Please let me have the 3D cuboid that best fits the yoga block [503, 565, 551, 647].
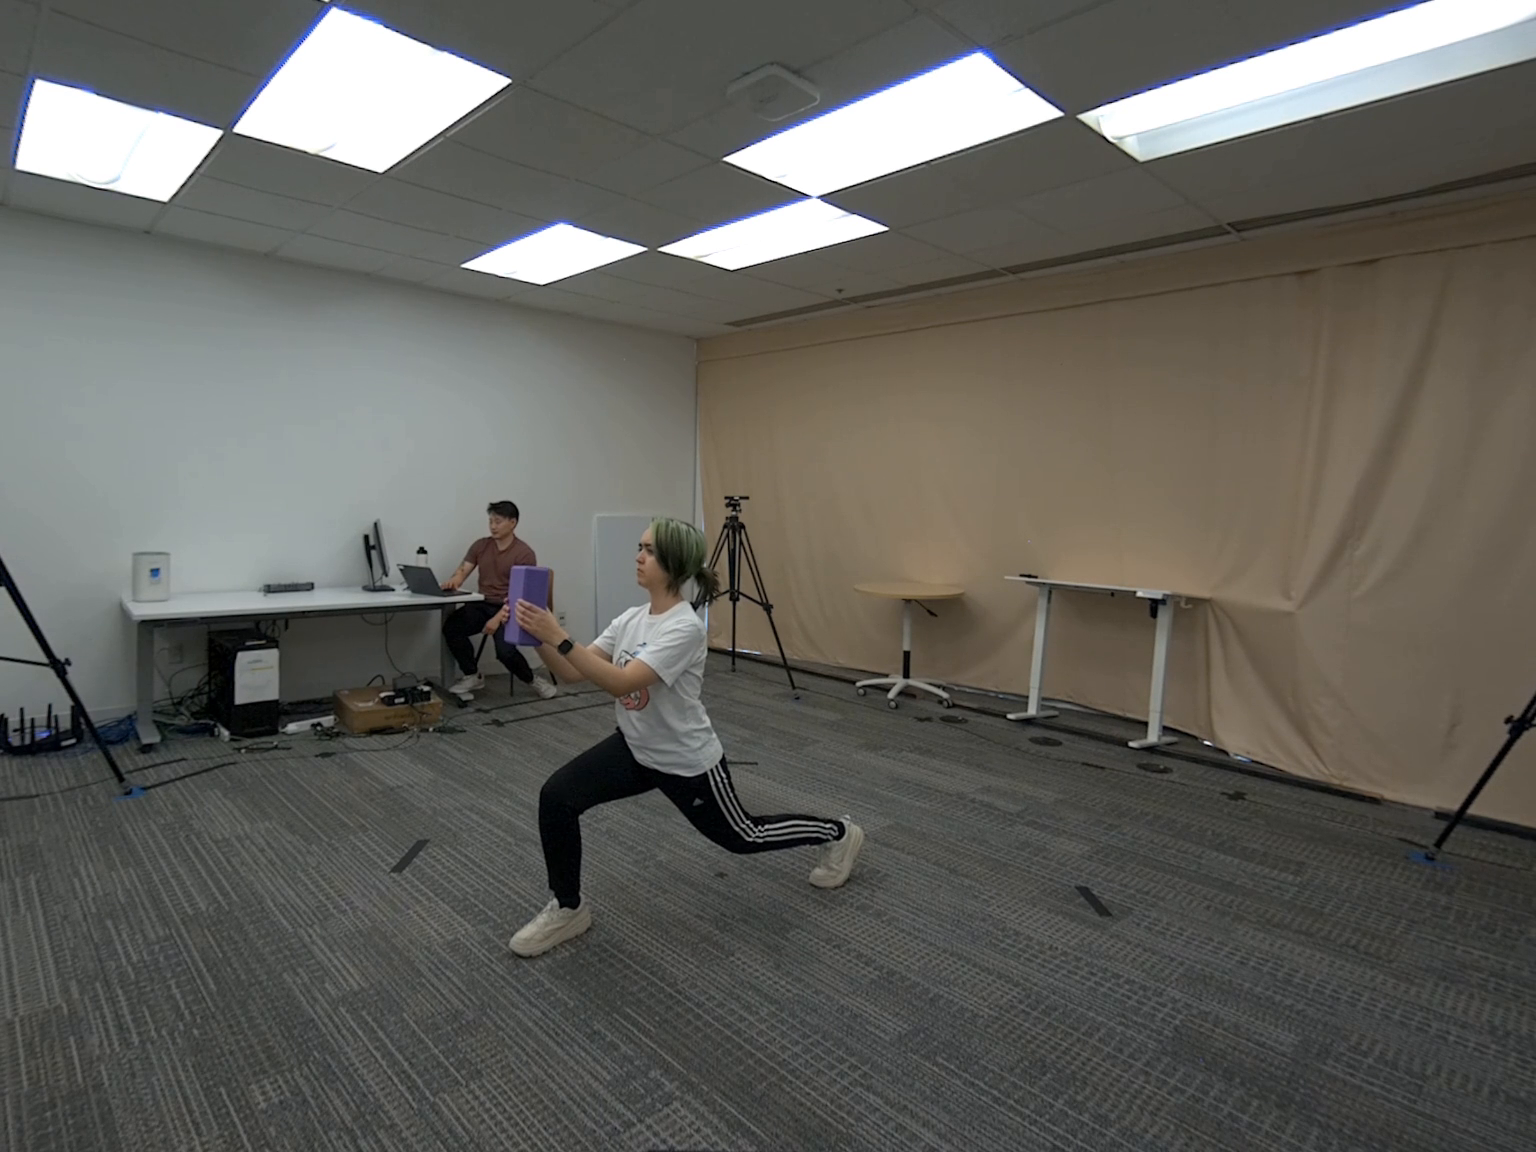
[{"bbox_3d":[-0.725,0.091,2.487,0.075,0.230,0.152,4,-4,-32],"label":"yoga block"}]
